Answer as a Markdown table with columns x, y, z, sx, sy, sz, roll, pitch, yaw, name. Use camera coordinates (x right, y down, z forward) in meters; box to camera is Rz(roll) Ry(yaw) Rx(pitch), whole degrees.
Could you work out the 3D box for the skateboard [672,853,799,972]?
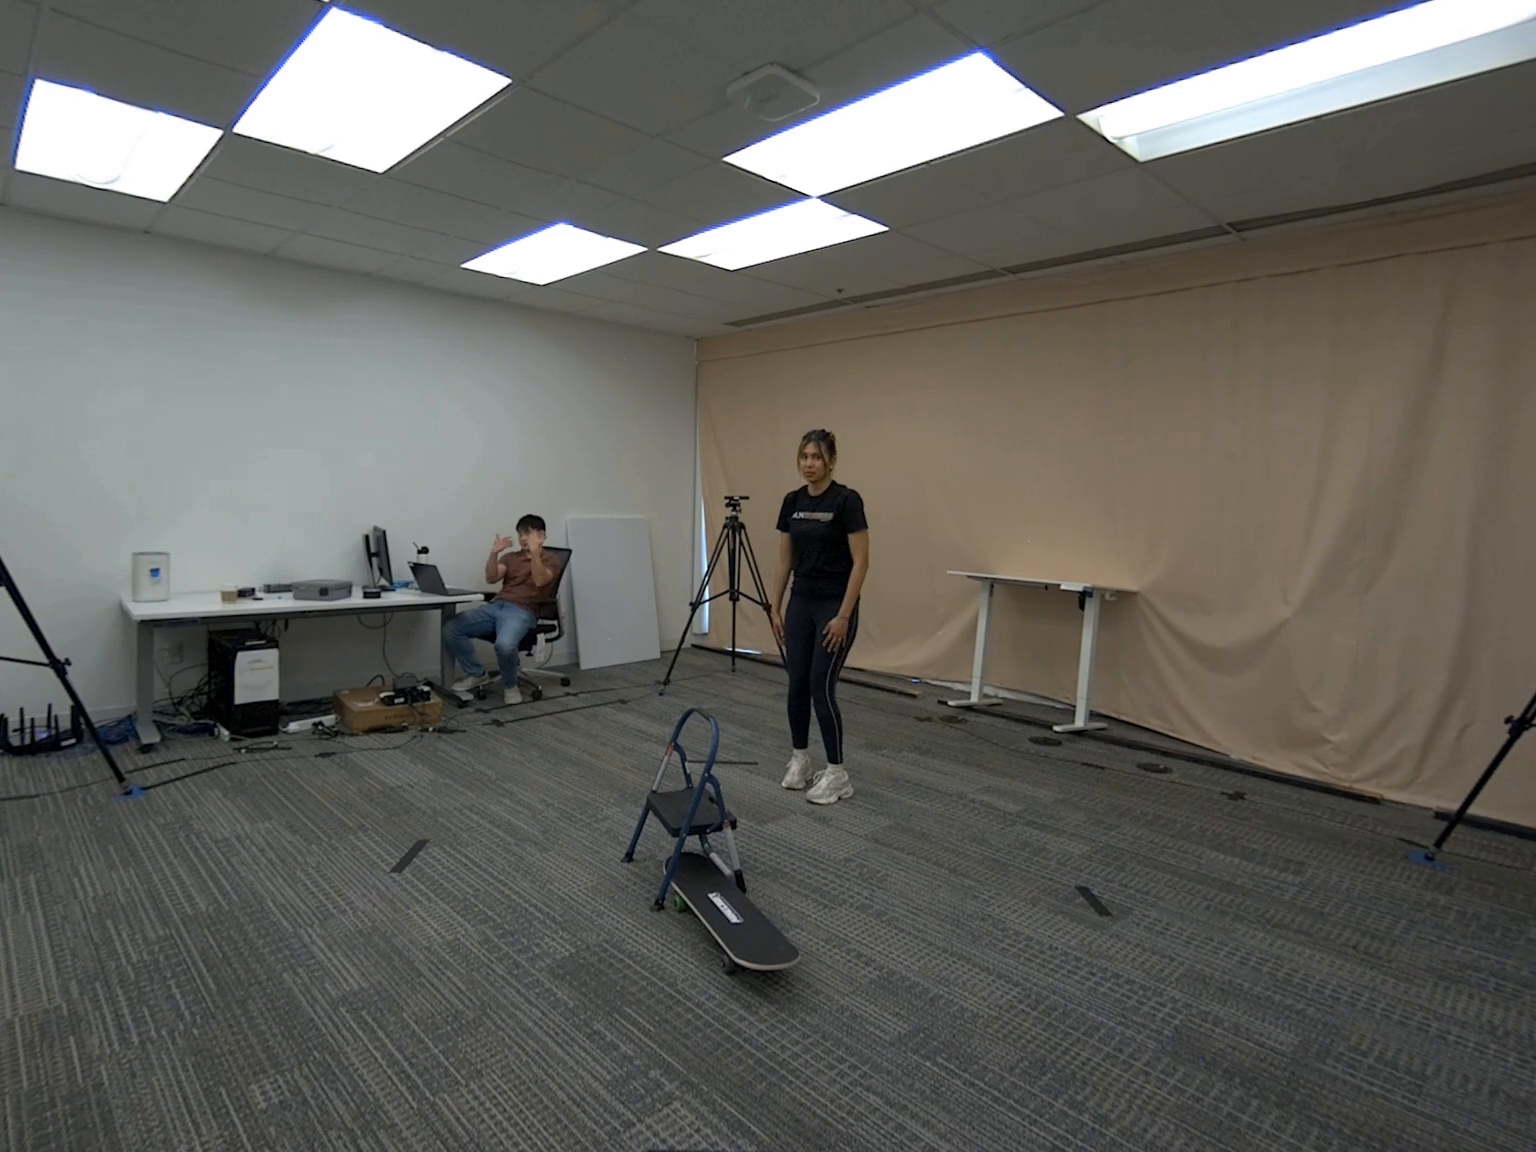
| x | y | z | sx | sy | sz | roll | pitch | yaw | name |
| --- | --- | --- | --- | --- | --- | --- | --- | --- | --- |
| -0.146 | 1.085 | 2.678 | 0.190 | 0.110 | 0.802 | 0 | 6 | -26 | skateboard |
